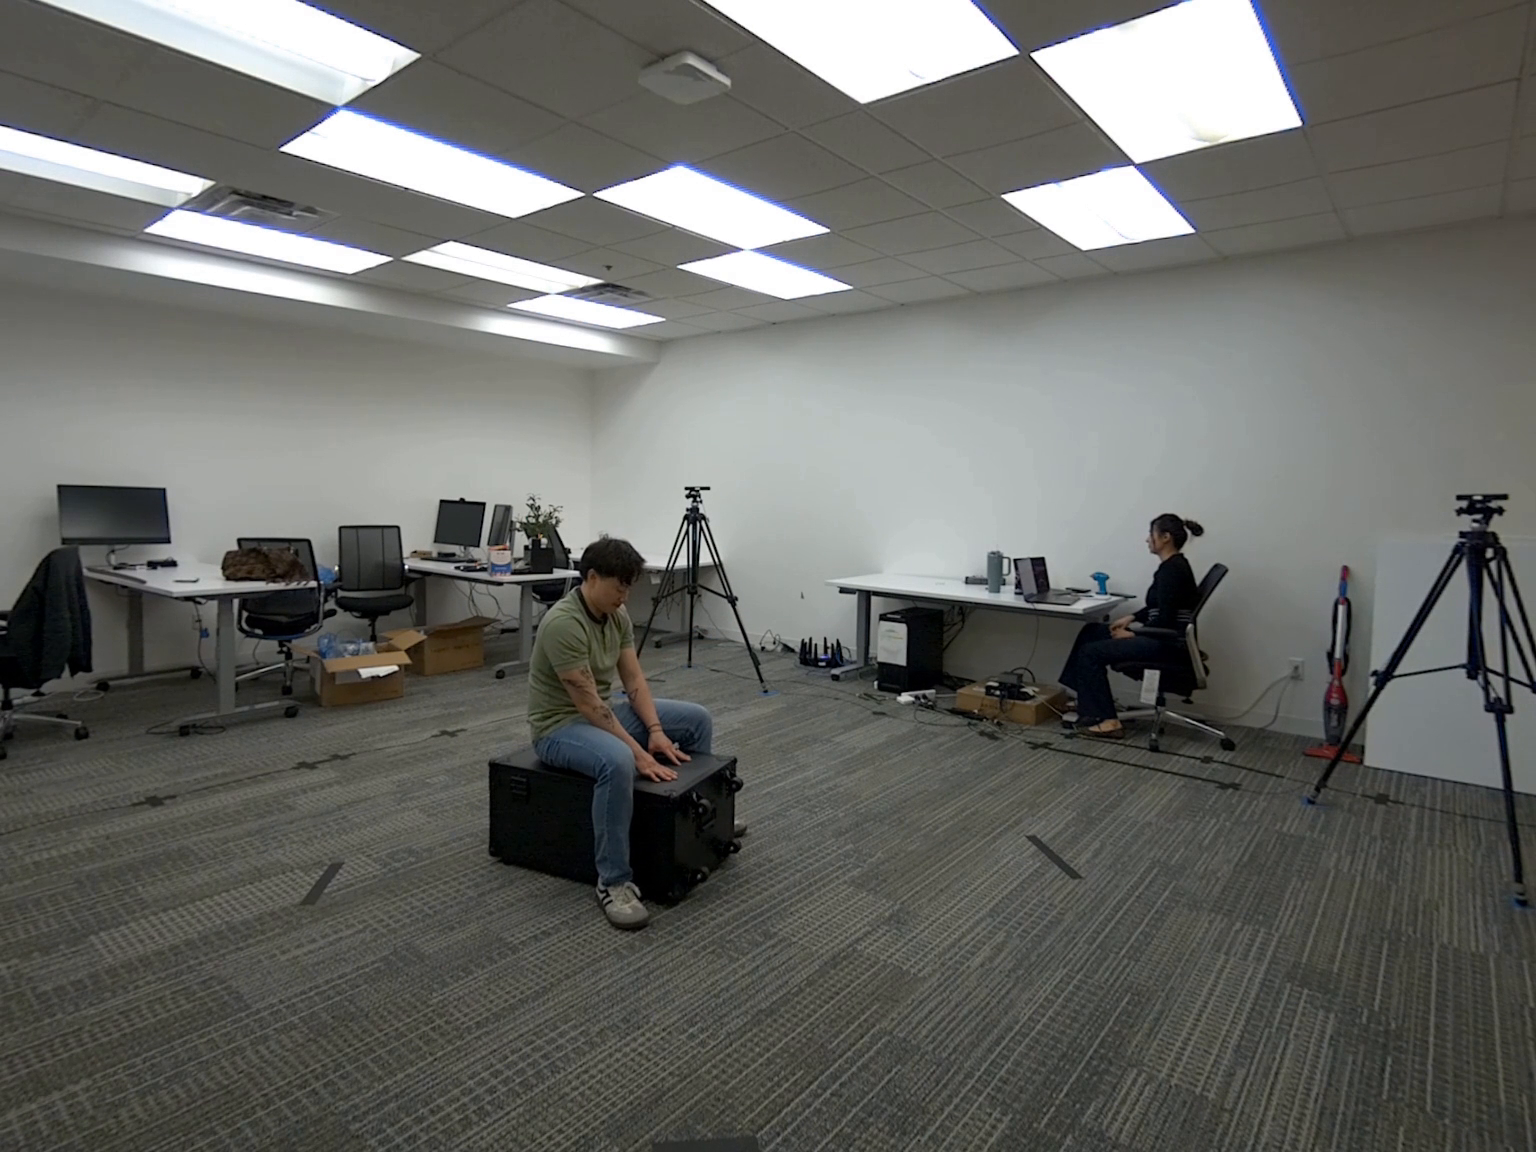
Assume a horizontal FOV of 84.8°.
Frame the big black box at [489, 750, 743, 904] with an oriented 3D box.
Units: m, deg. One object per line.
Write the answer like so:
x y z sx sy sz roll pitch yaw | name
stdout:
-0.559 0.868 3.155 0.883 0.395 0.510 2 4 24 | big black box
